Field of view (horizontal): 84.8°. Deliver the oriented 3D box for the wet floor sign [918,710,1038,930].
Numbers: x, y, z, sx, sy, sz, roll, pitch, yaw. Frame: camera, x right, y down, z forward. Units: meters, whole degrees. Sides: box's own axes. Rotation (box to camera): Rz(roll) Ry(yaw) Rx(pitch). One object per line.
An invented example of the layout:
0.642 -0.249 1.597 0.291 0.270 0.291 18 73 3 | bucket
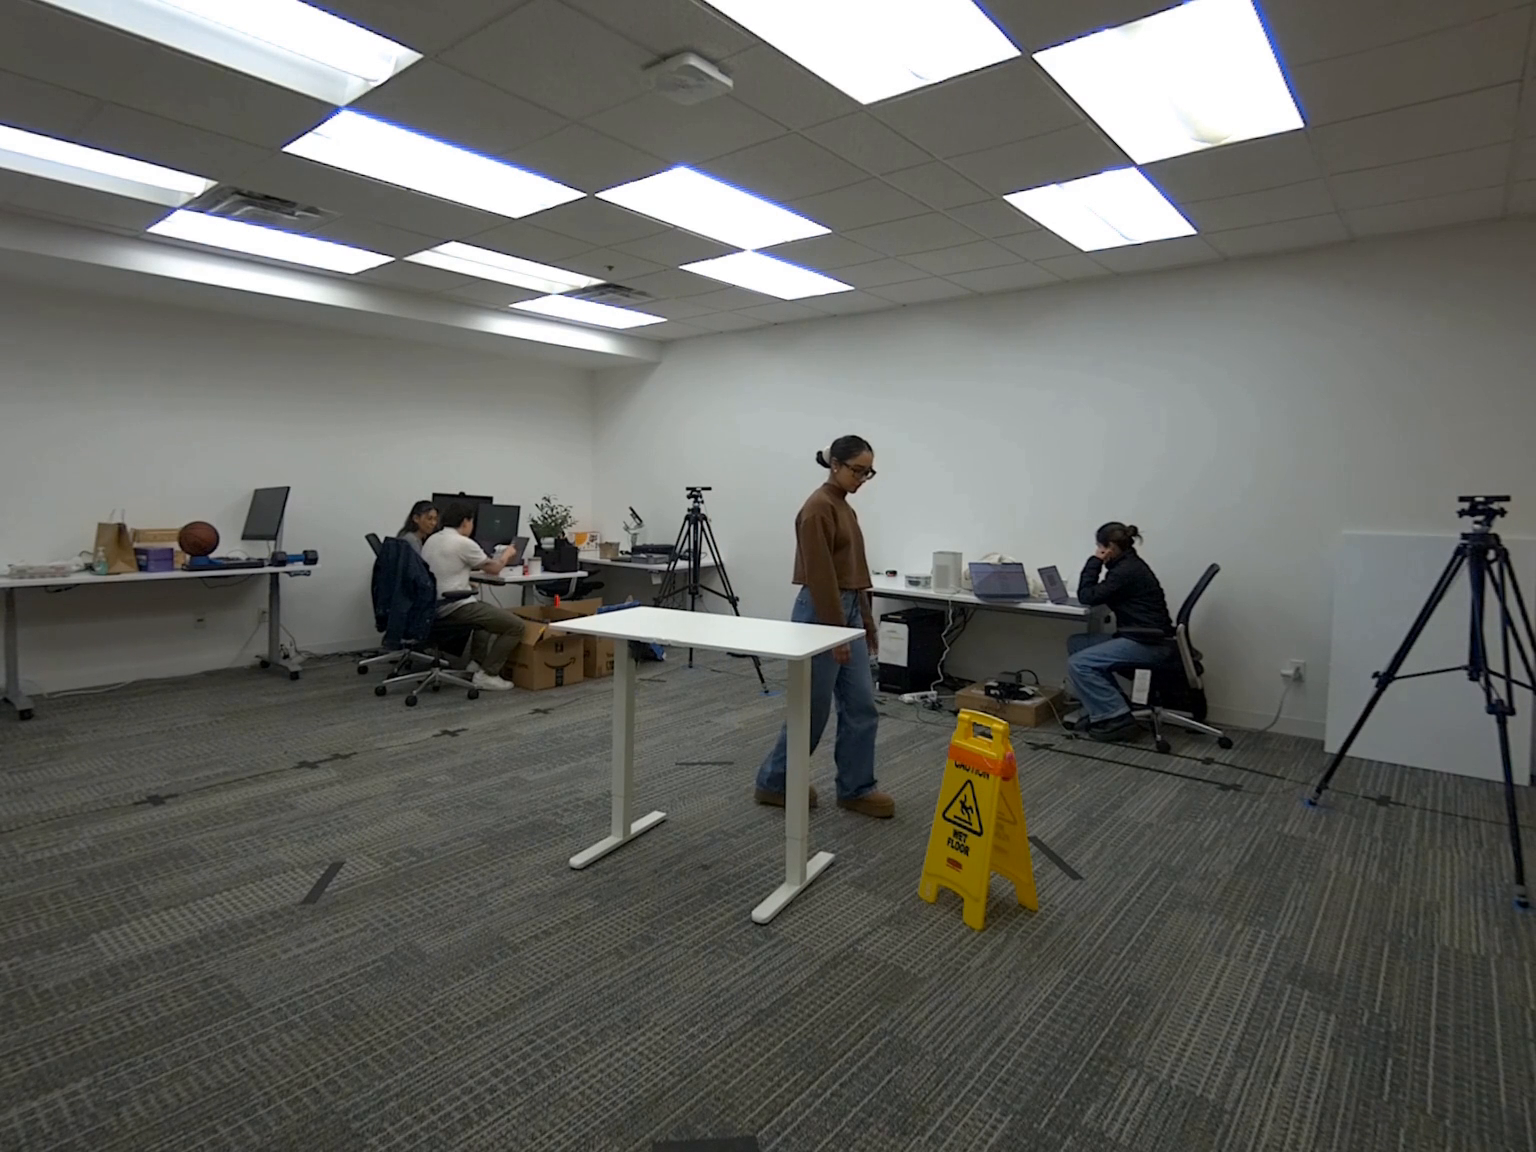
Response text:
0.719 0.788 2.874 0.281 0.644 0.291 0 4 -33 | wet floor sign
